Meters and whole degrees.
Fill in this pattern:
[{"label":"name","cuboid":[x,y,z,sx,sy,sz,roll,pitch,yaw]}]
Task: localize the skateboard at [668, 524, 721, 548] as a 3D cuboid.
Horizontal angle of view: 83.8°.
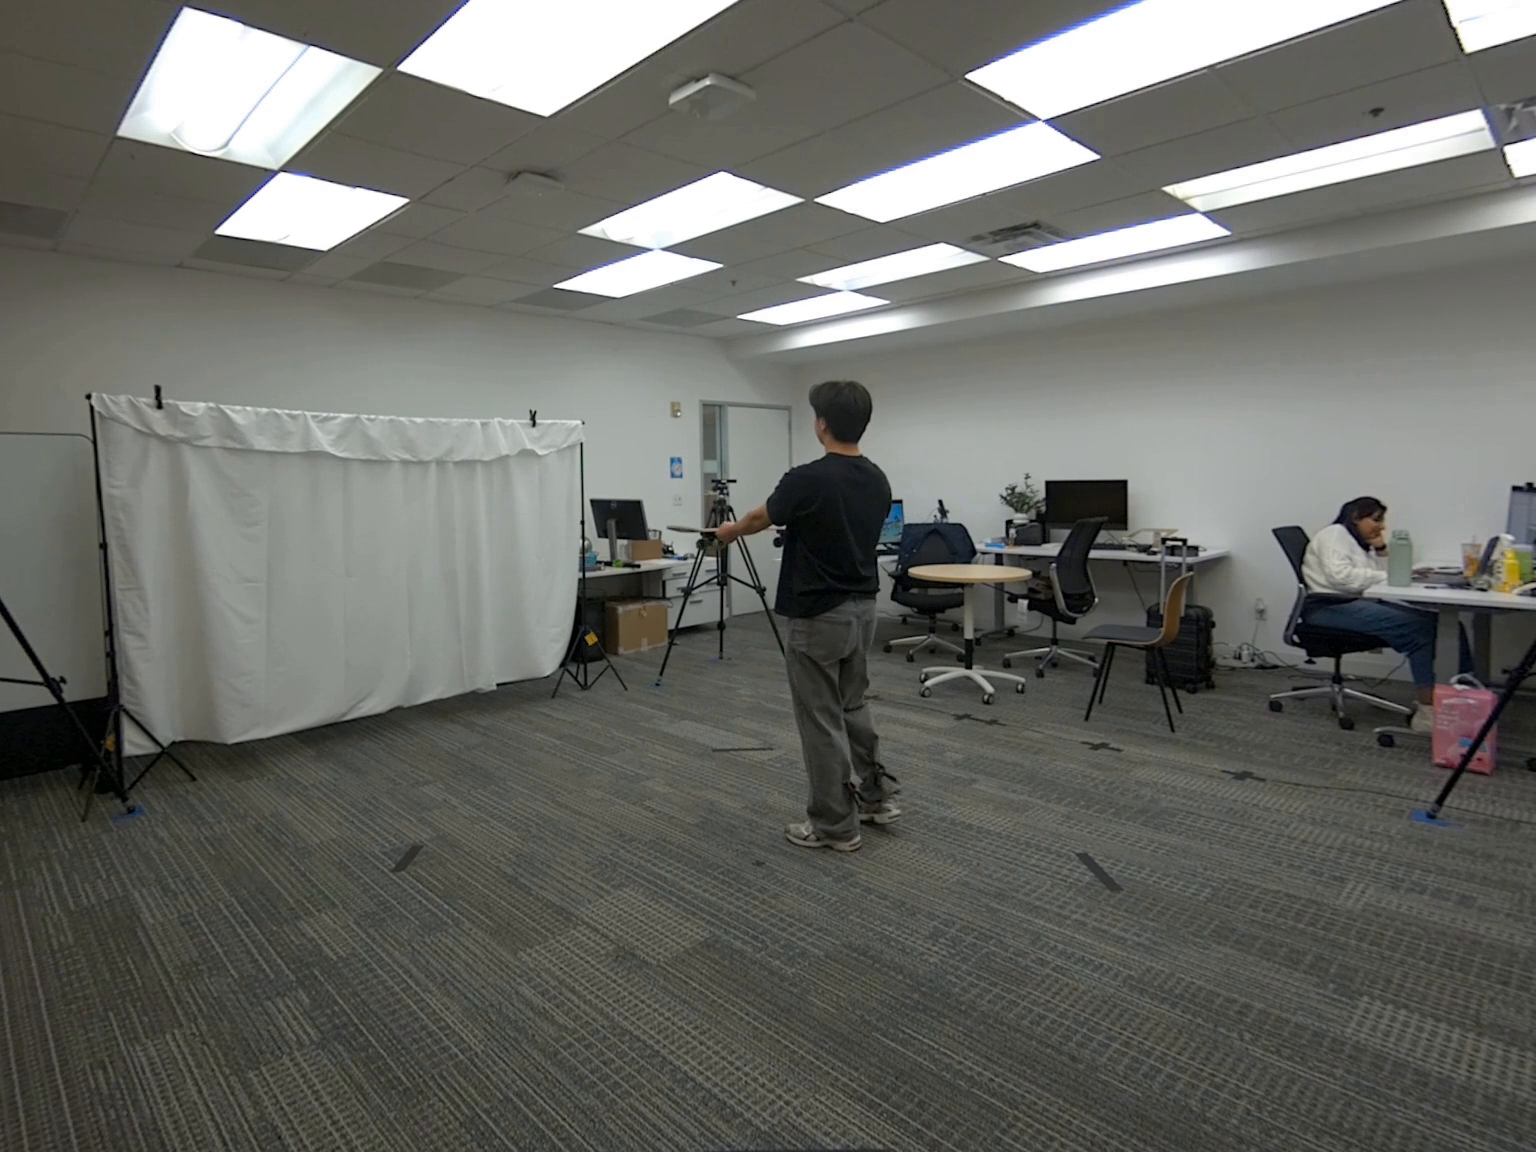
[{"label":"skateboard","cuboid":[-0.065,-0.173,3.766,0.766,0.110,0.198,-3,2,-32]}]
